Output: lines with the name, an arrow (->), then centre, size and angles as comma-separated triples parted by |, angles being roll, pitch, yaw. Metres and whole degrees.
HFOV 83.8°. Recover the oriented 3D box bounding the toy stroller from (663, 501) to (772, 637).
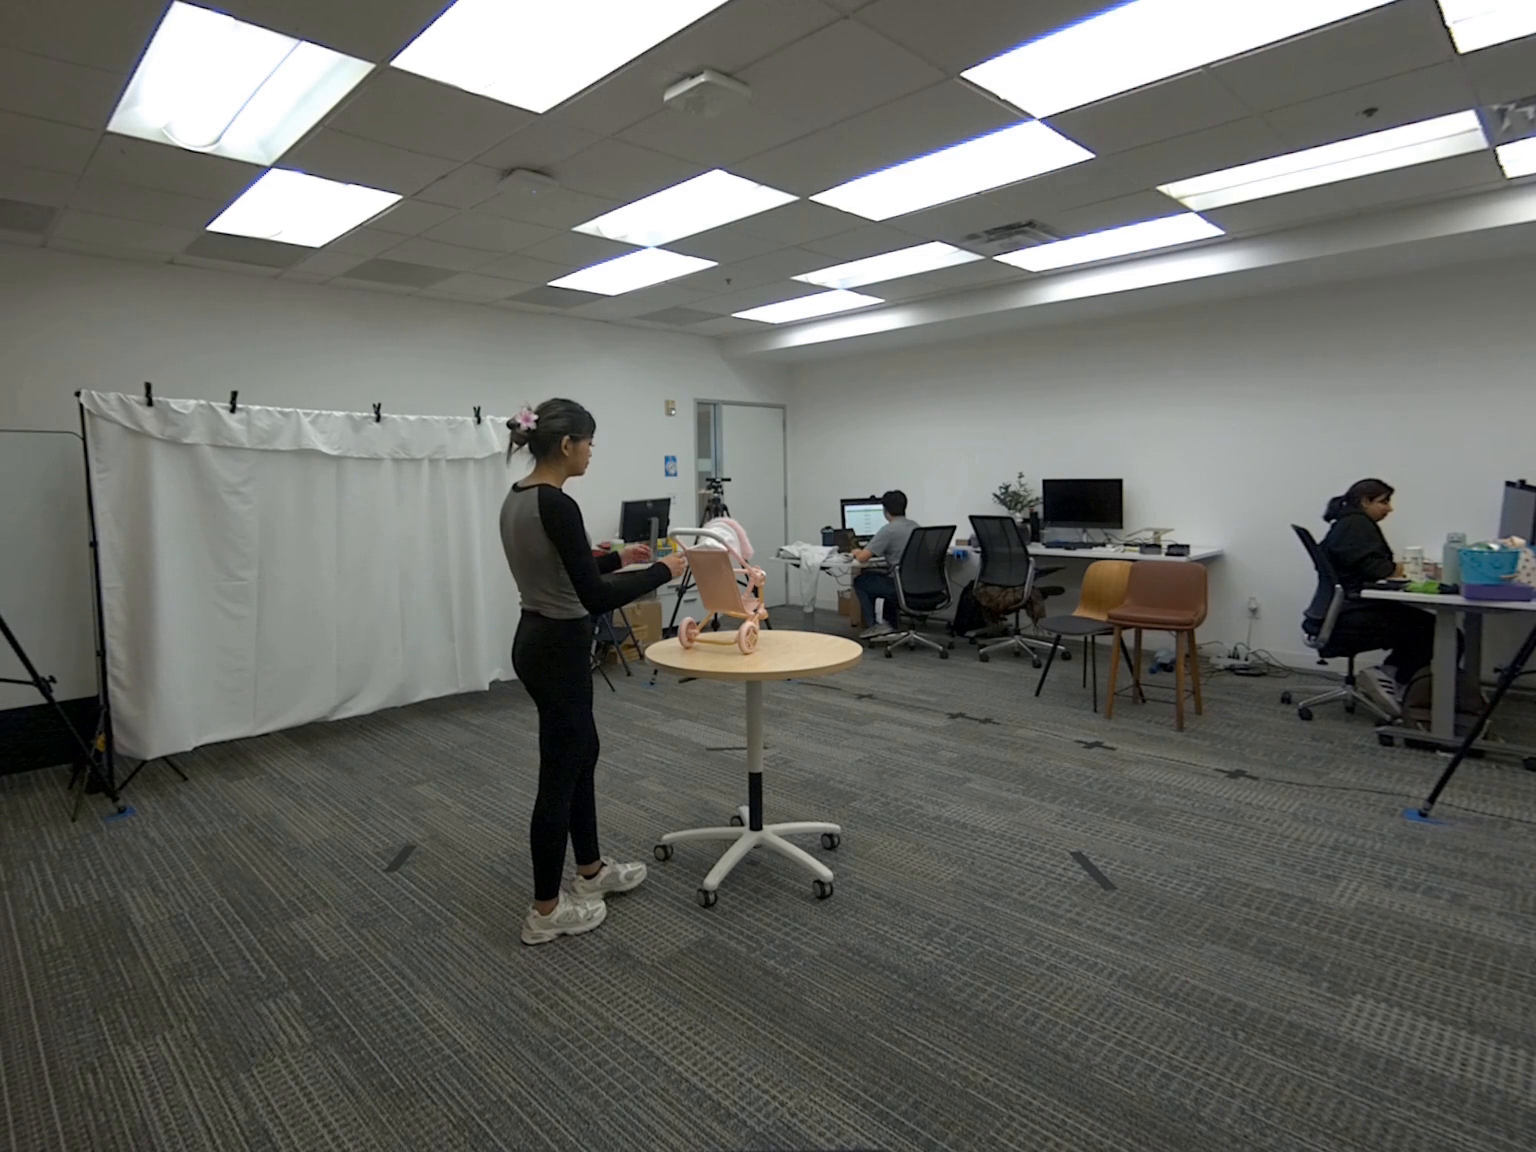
toy stroller -> -0.146, 0.032, 3.046 | 0.289, 0.526, 0.337 | 2, 20, 34
